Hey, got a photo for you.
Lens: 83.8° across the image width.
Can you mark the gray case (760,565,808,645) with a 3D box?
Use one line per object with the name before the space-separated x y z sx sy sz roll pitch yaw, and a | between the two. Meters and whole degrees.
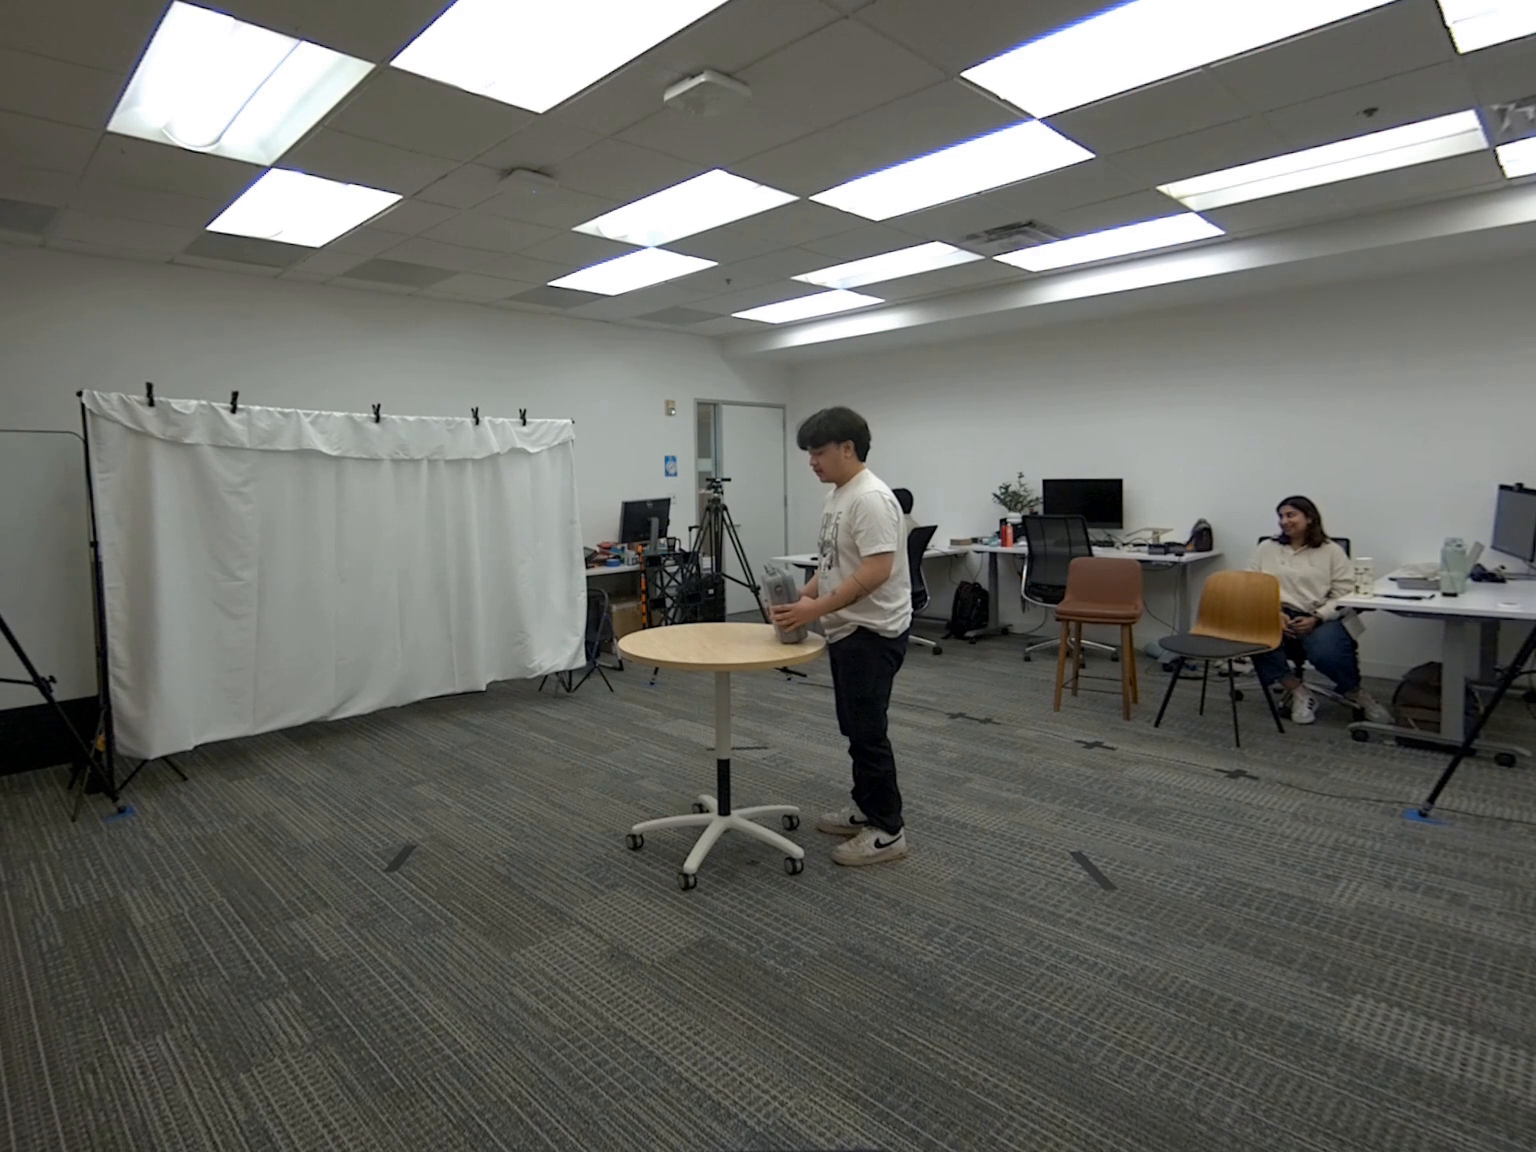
gray case | 0.059 0.102 3.179 0.104 0.259 0.259 -11 5 -4
